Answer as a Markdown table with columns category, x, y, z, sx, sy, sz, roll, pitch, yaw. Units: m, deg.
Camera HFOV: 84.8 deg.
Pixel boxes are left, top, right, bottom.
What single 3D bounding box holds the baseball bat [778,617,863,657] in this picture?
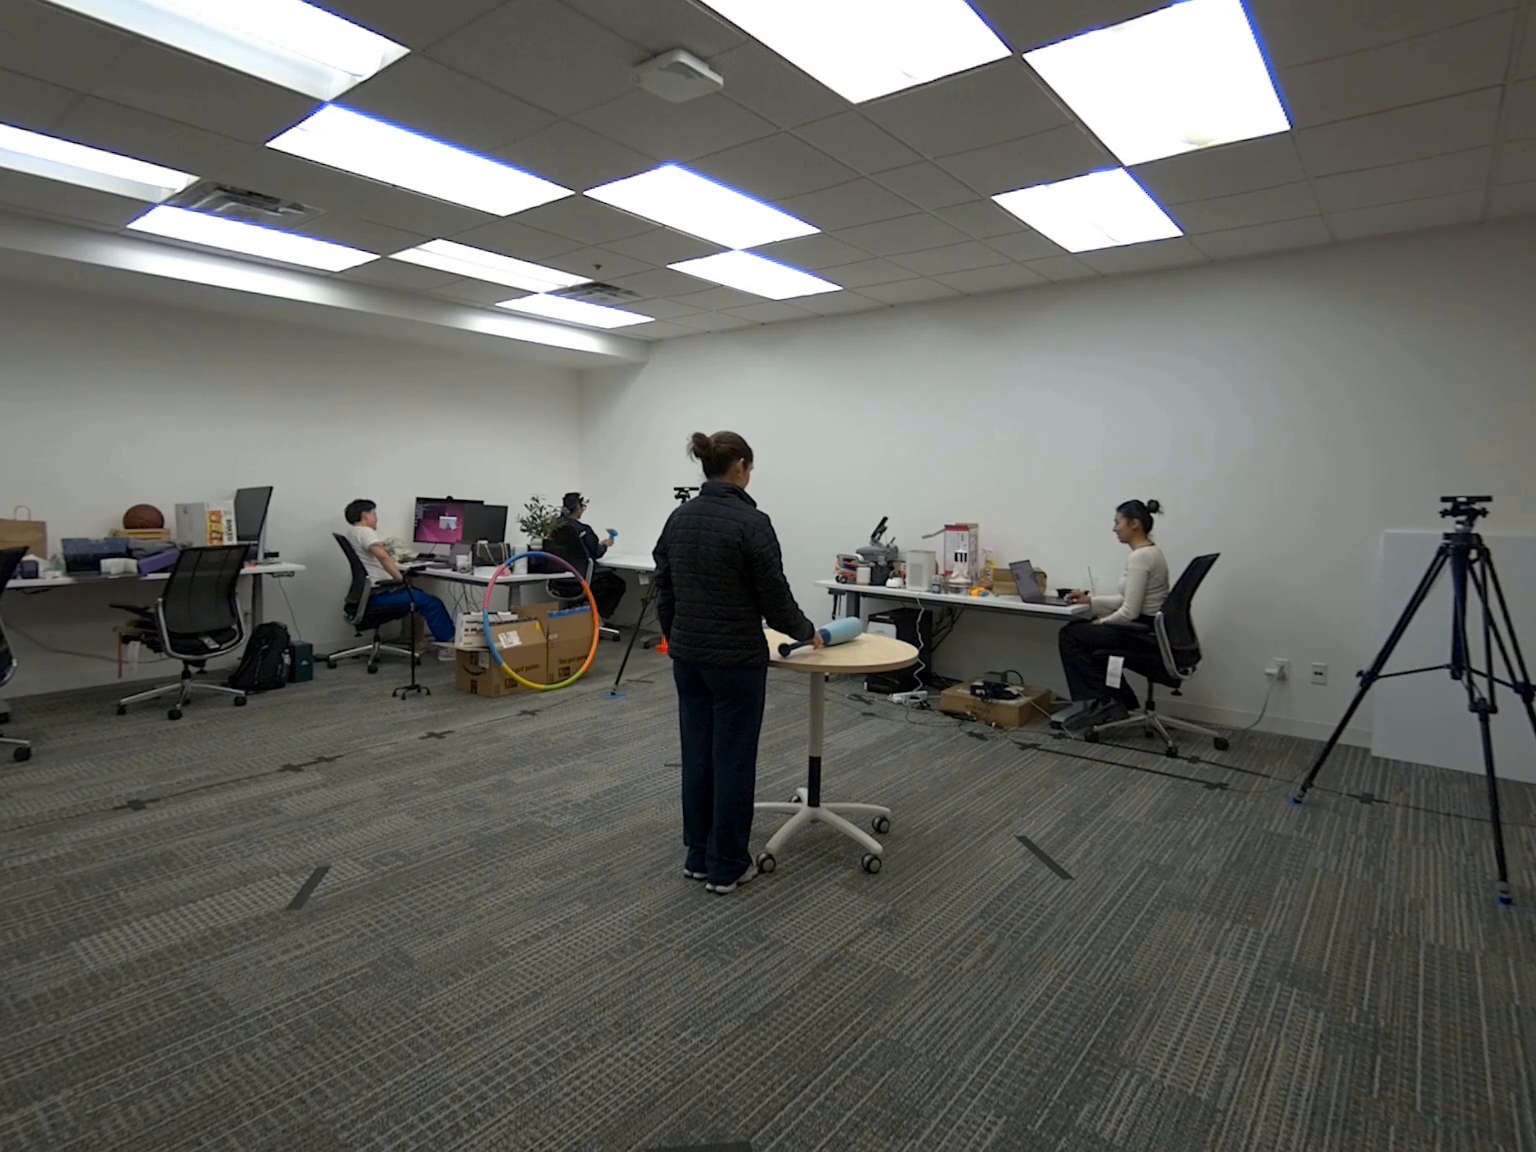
| category | x | y | z | sx | sy | sz | roll | pitch | yaw |
| --- | --- | --- | --- | --- | --- | --- | --- | --- | --- |
| baseball bat | 0.225 | 0.238 | 3.292 | 0.092 | 0.088 | 0.528 | 4 | 9 | 38 |
